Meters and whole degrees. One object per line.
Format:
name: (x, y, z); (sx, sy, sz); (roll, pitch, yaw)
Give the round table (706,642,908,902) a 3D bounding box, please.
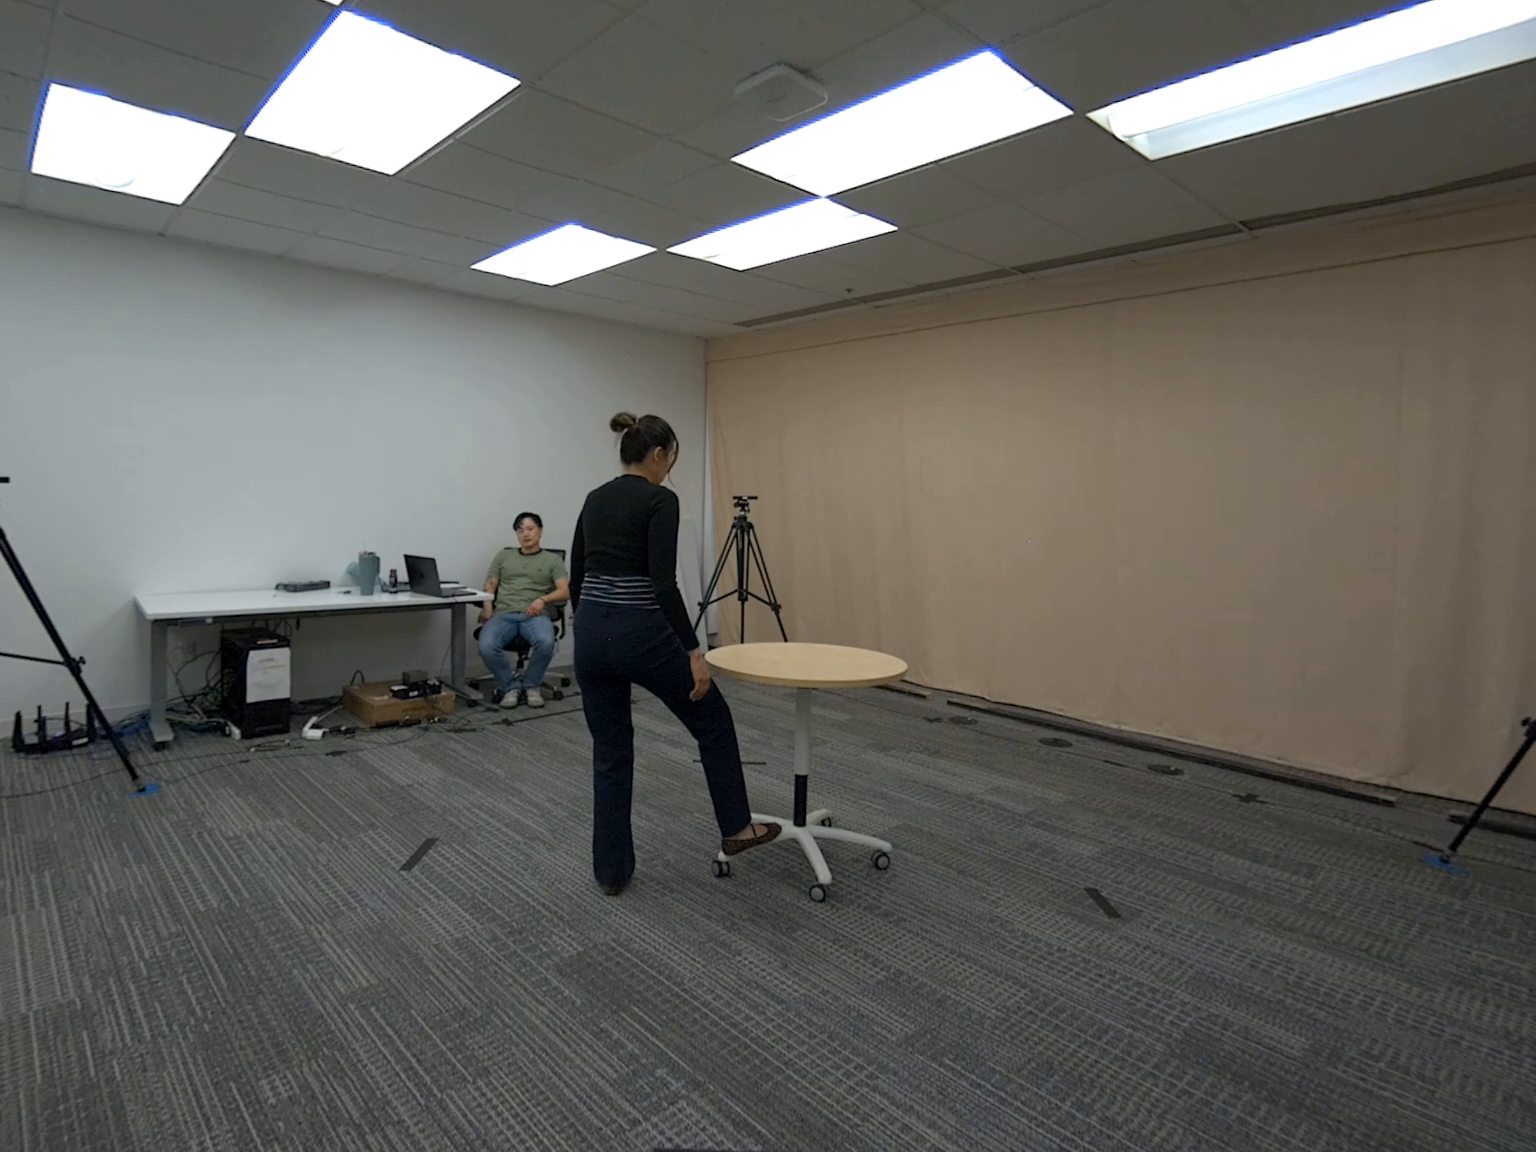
round table: (0.122, 0.711, 3.227); (0.763, 0.792, 0.766); (2, 4, -2)
